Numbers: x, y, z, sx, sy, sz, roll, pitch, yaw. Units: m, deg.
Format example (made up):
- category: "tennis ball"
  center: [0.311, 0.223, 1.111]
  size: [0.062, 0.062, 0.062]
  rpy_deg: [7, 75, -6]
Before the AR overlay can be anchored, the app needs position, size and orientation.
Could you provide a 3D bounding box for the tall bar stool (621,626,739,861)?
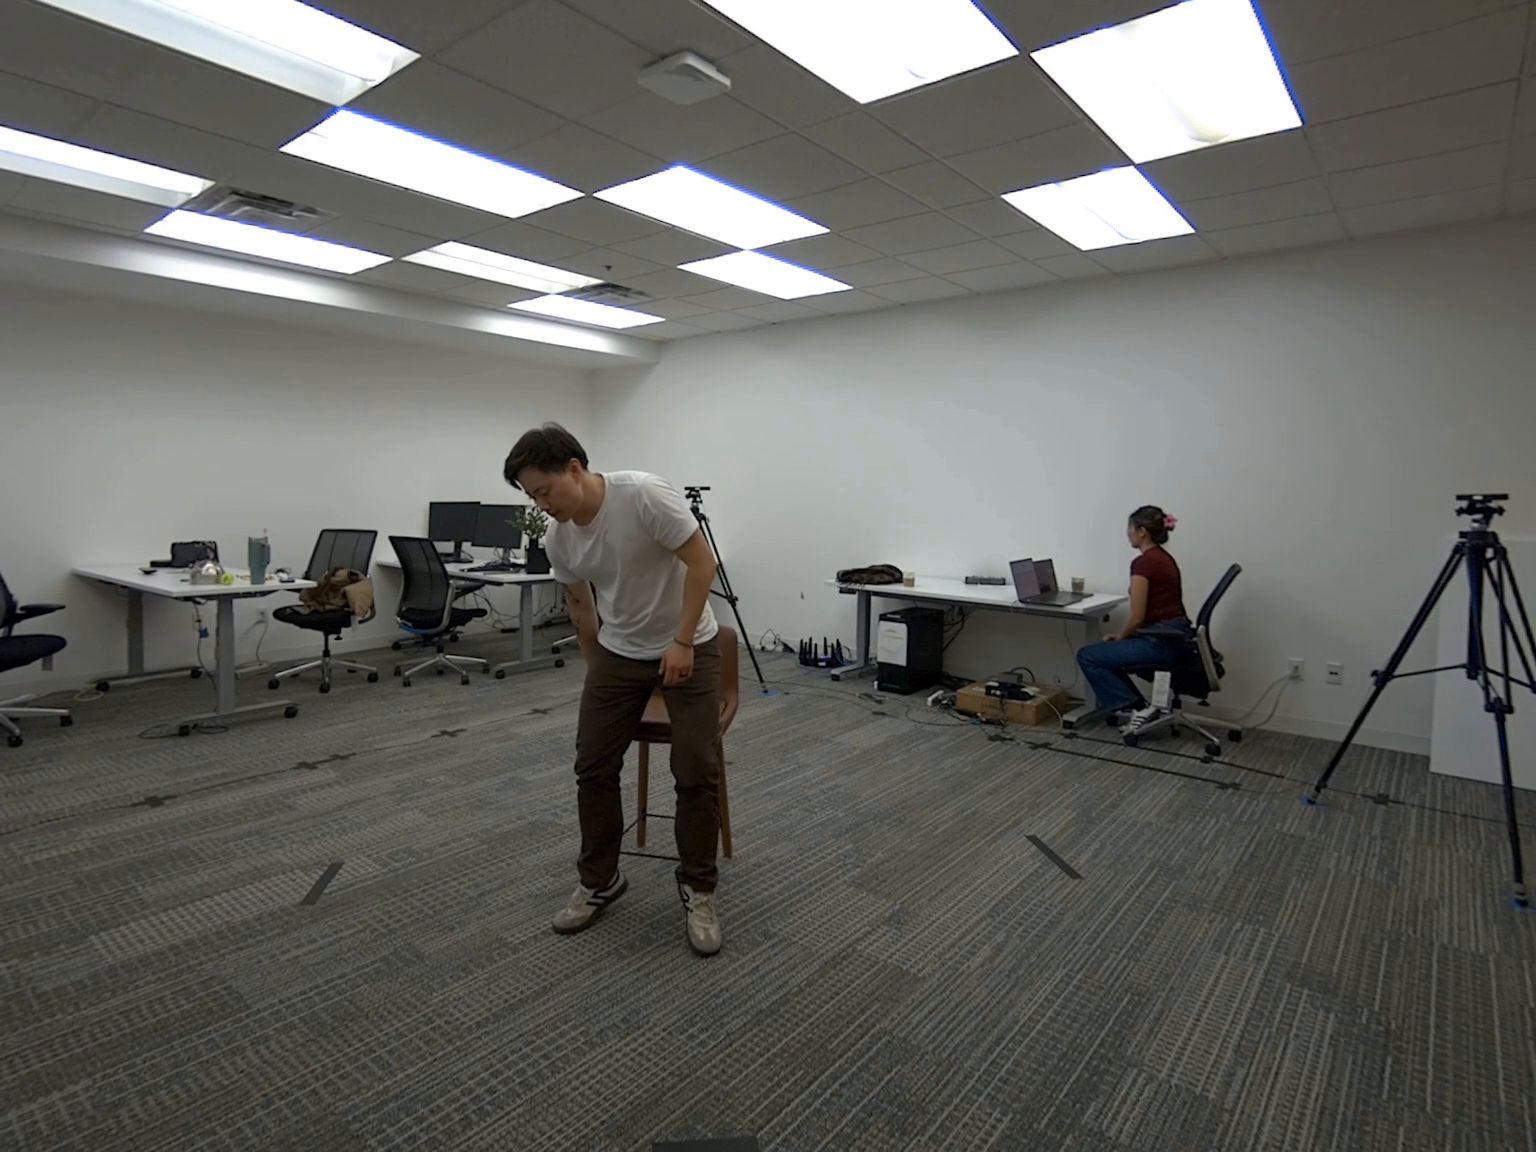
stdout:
- category: "tall bar stool"
  center: [-0.364, 0.633, 3.037]
  size: [0.464, 0.889, 0.461]
  rpy_deg: [1, 1, 14]
